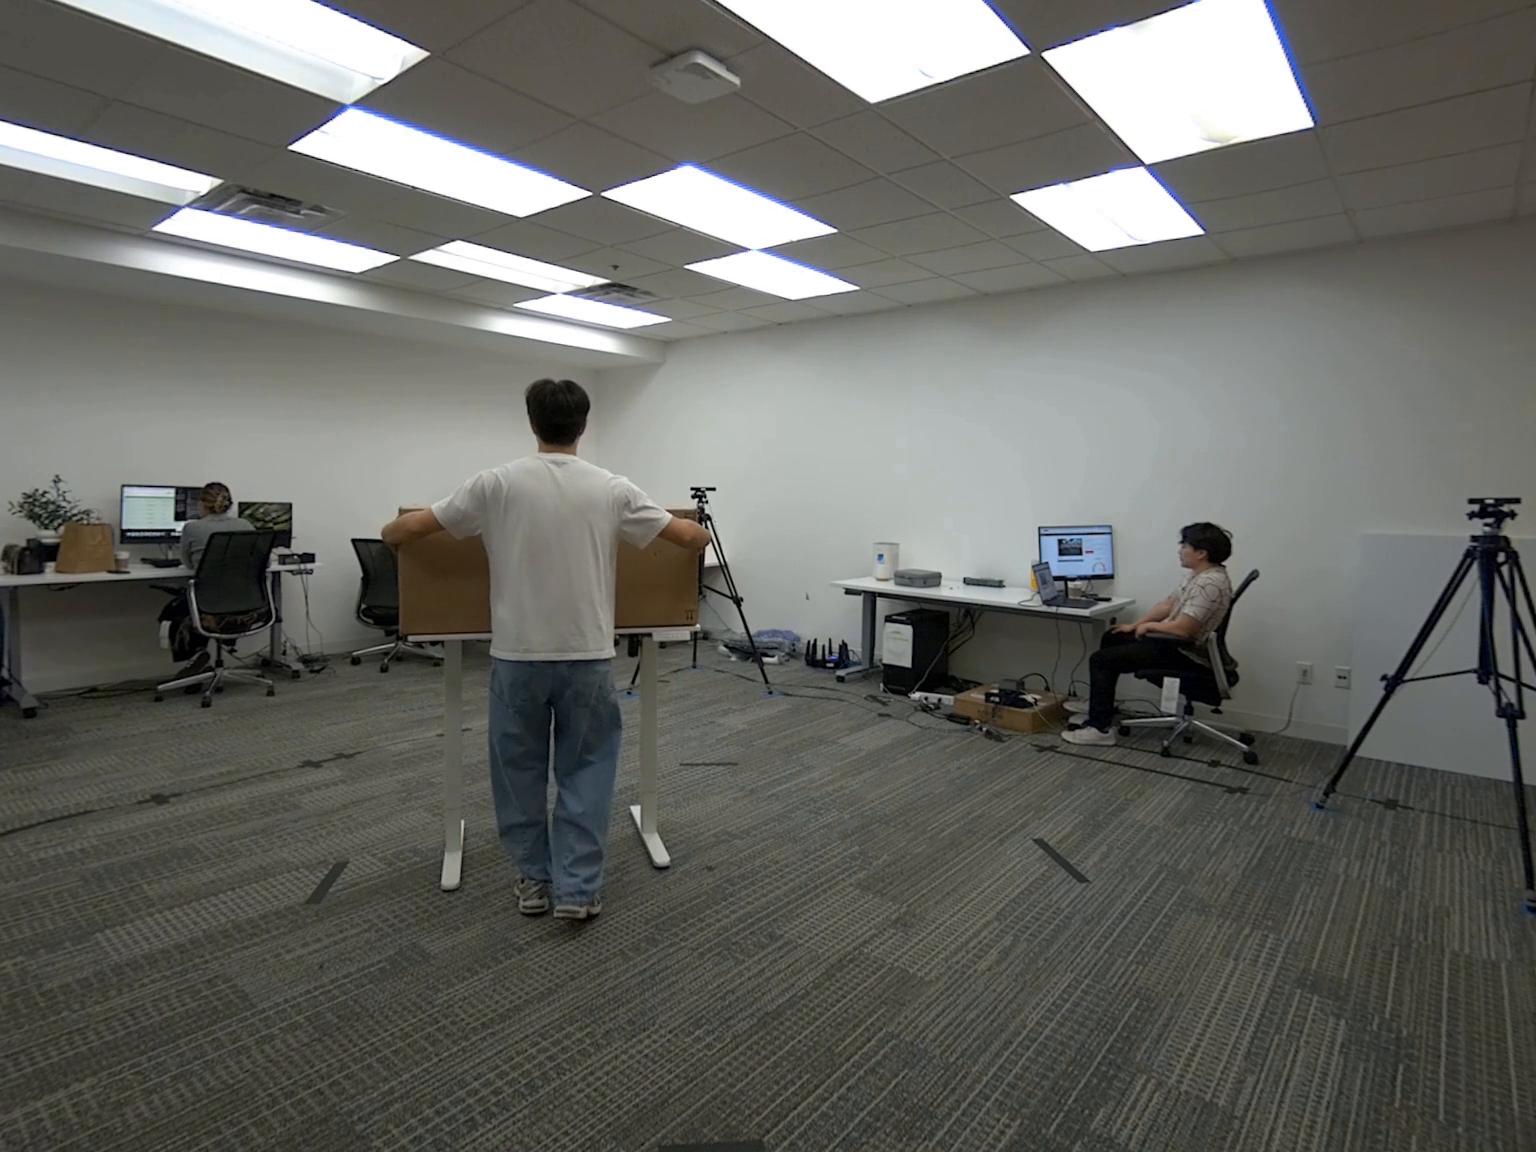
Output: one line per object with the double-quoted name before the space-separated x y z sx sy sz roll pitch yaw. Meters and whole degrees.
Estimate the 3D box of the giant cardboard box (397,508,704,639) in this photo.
"giant cardboard box" -0.830 -0.043 3.211 1.010 0.424 0.589 -1 5 -16
